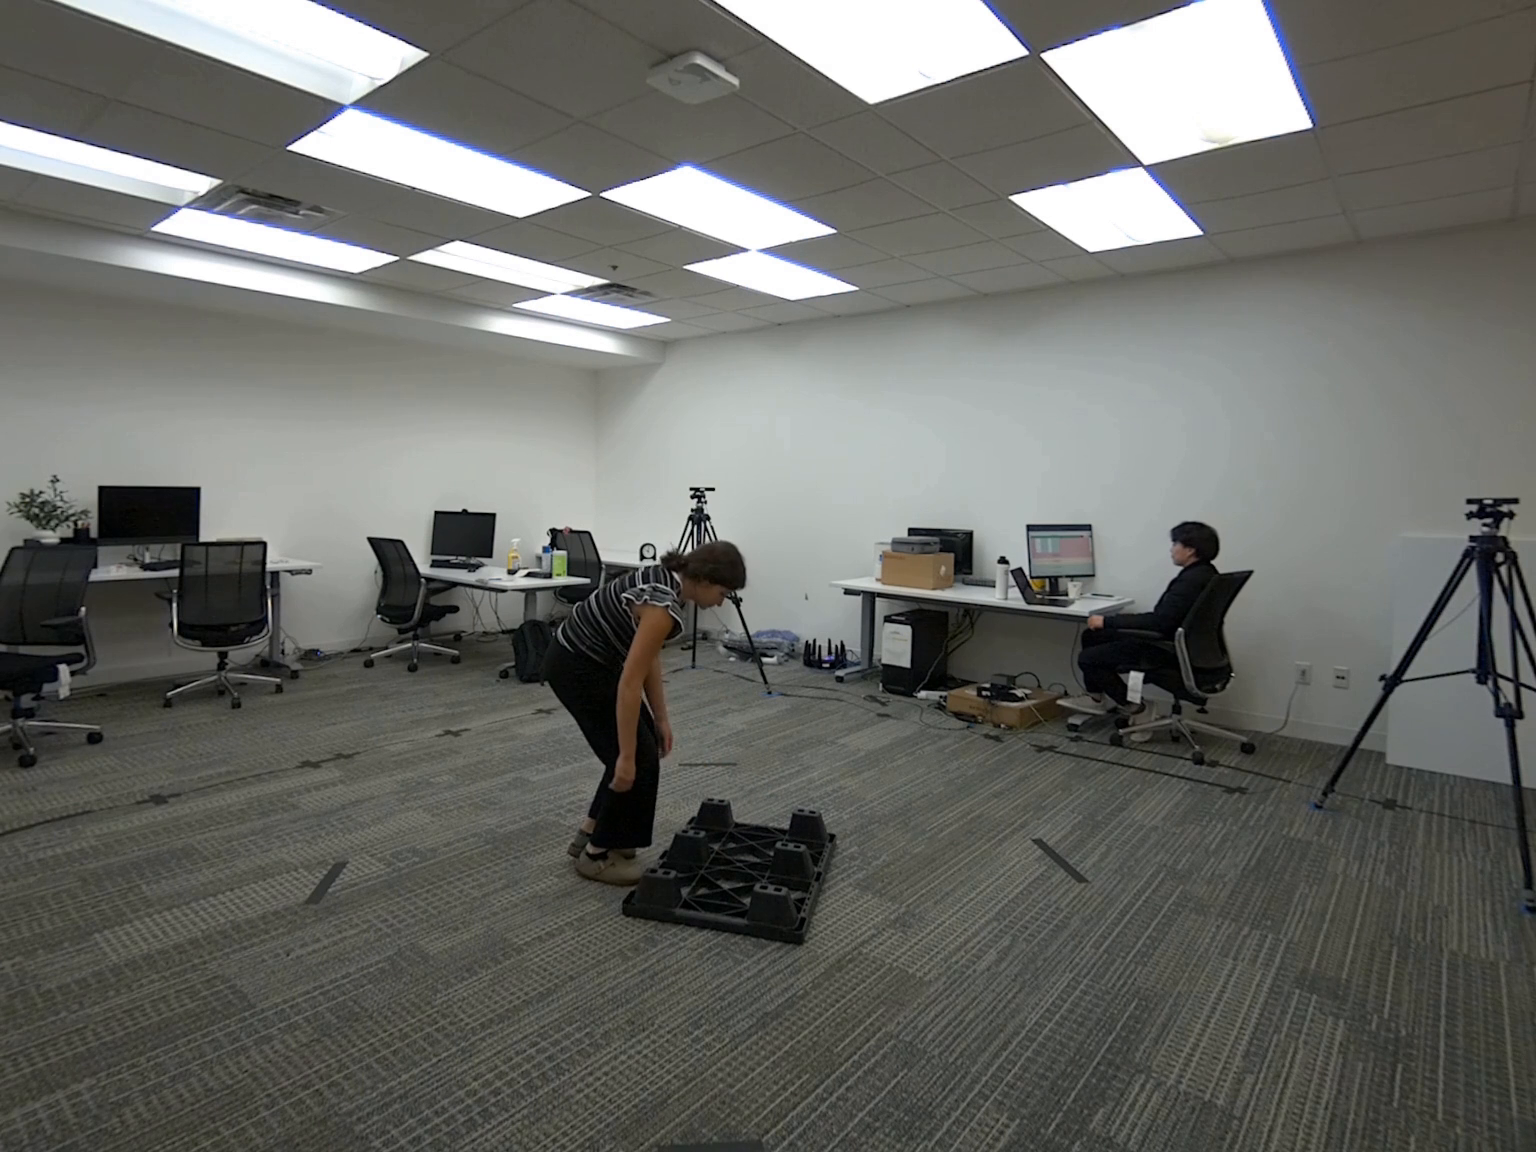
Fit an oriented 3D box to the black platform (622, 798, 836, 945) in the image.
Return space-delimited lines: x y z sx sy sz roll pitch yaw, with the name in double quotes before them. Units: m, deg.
"black platform" -0.113 1.007 3.054 0.615 0.143 0.796 3 5 13
